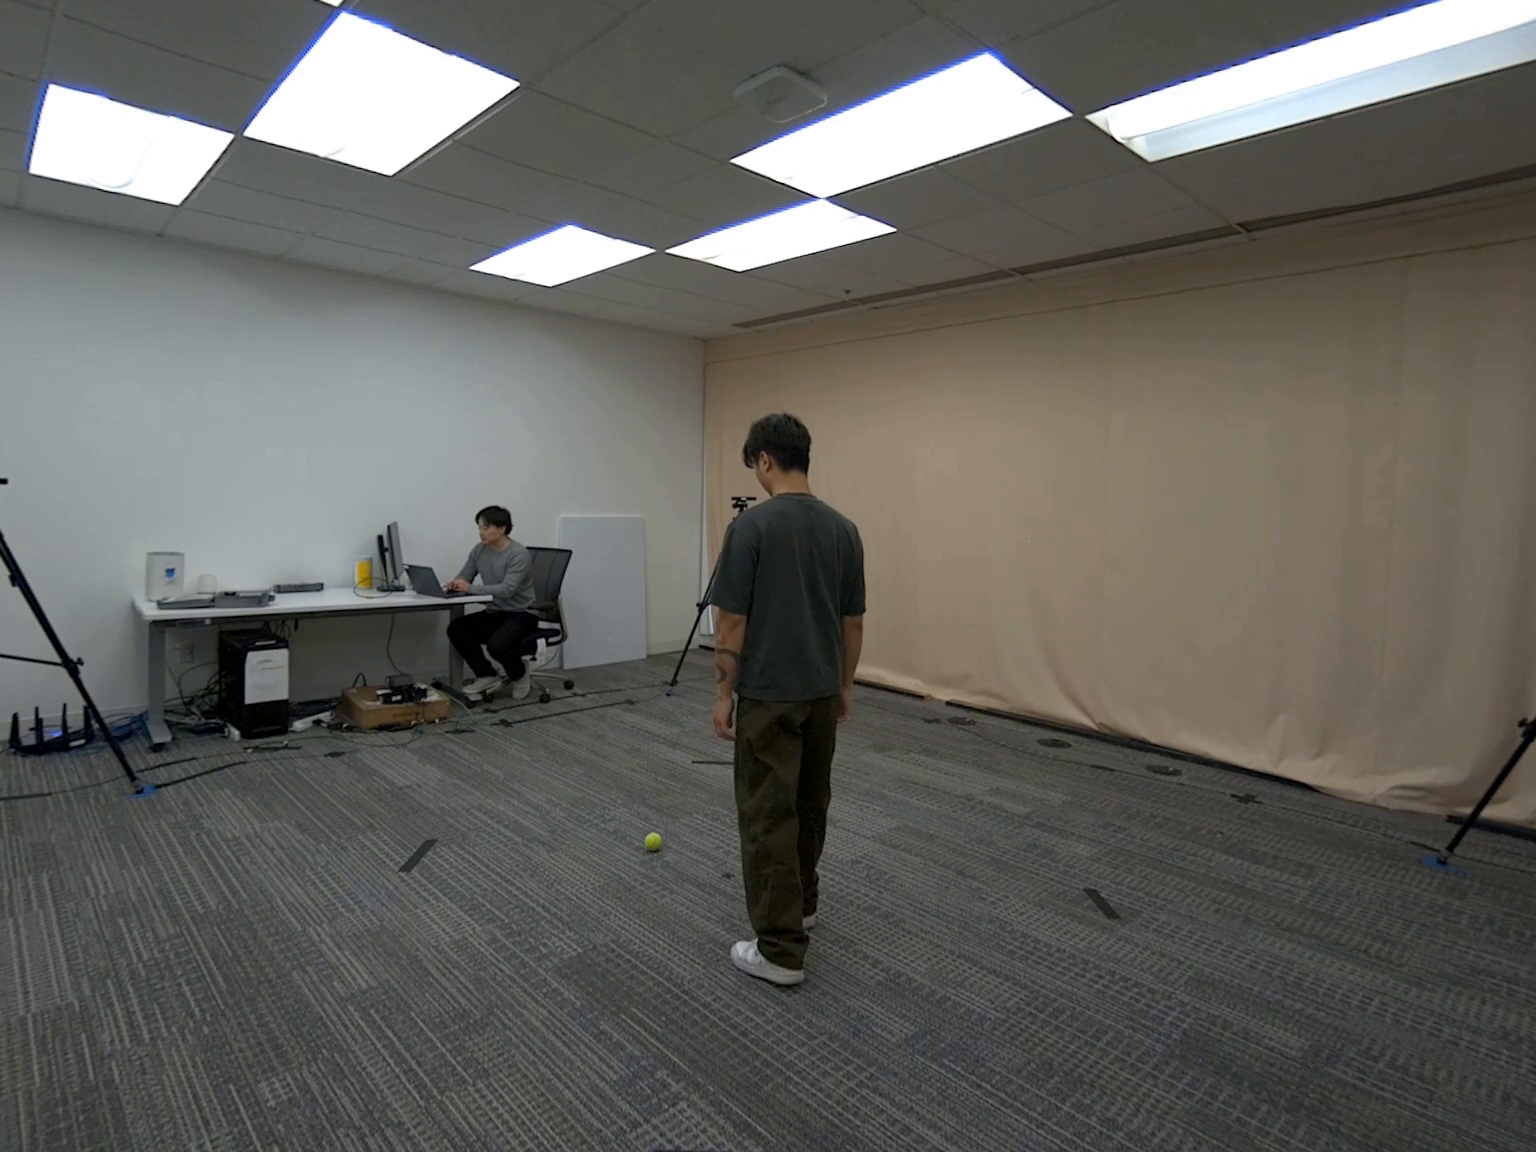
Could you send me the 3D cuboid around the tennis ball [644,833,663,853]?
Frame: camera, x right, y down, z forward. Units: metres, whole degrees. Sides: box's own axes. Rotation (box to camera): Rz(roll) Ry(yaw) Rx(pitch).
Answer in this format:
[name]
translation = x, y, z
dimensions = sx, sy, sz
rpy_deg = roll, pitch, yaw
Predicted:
[tennis ball]
translation = -0.465, 1.037, 3.312
dimensions = 0.066, 0.066, 0.067
rpy_deg = 1, 4, -1
